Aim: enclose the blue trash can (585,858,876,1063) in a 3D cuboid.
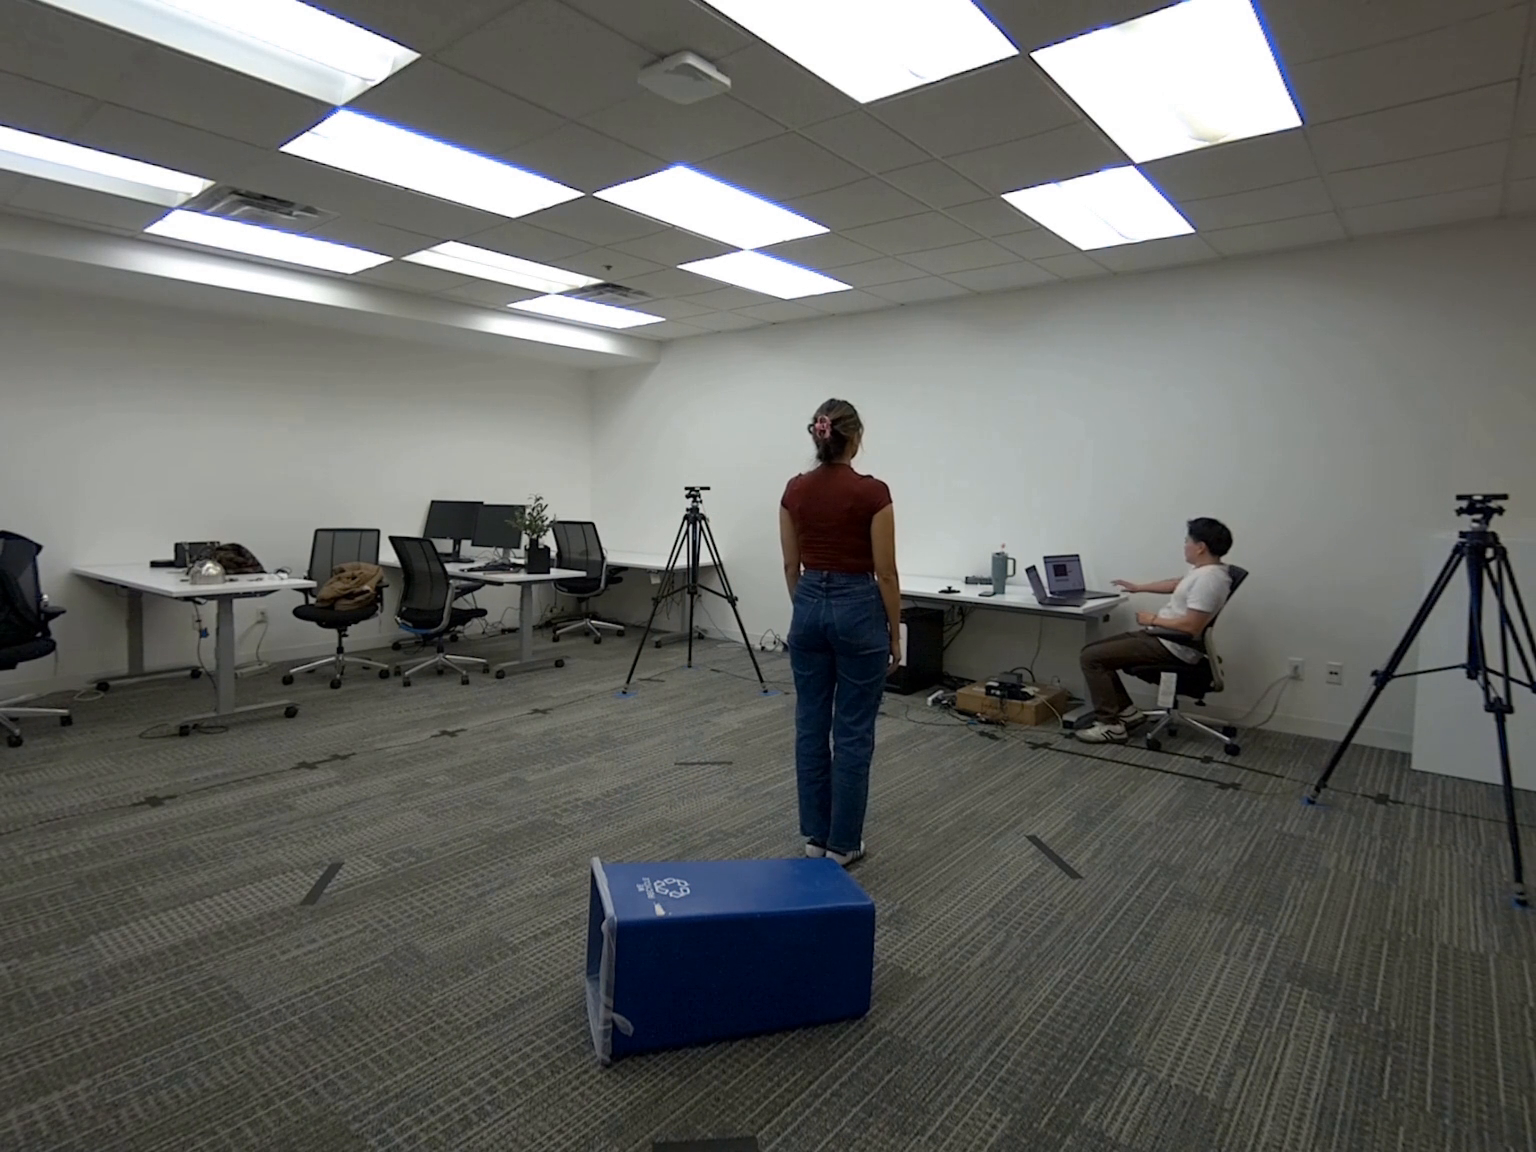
[{"bbox_3d":[-0.120,0.982,2.285,0.701,0.377,0.382,2,4,-17],"label":"blue trash can"}]
